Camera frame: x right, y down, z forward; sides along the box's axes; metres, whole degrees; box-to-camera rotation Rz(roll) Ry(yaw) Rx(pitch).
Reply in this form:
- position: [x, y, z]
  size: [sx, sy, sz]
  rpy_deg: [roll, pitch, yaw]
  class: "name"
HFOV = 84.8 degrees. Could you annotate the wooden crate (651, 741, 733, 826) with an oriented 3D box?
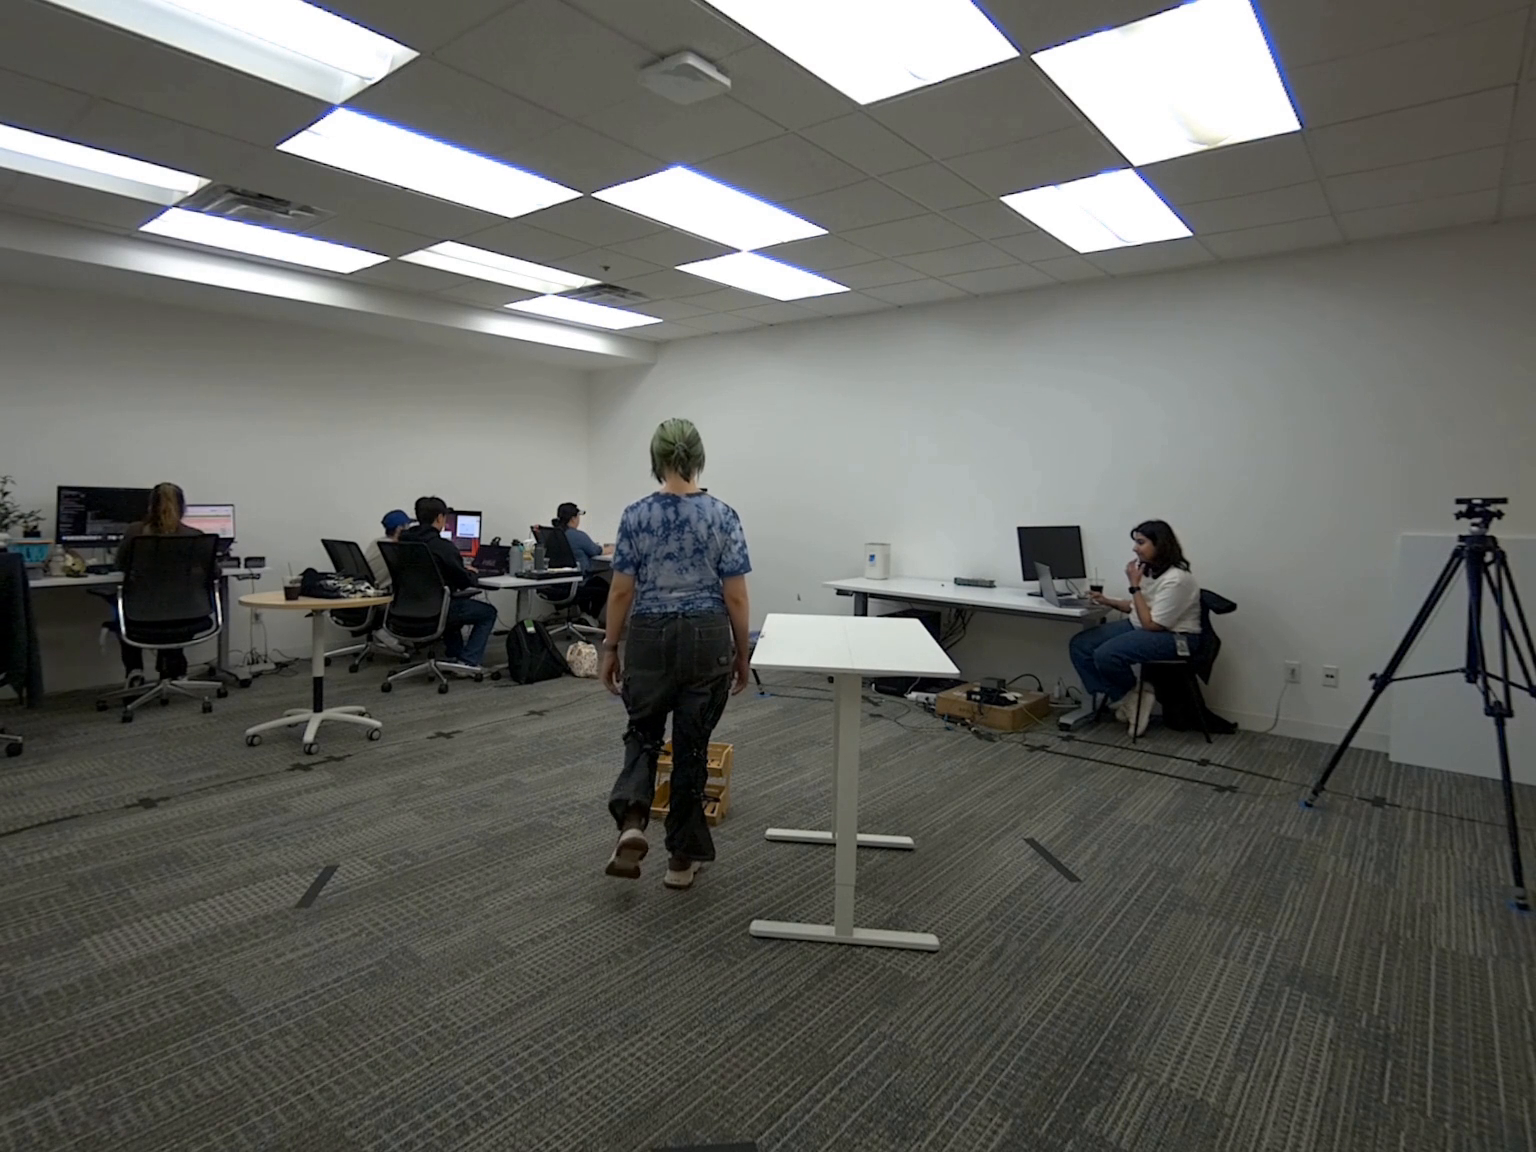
- position: [-0.339, 0.878, 3.674]
  size: [0.329, 0.272, 0.299]
  rpy_deg: [1, 4, 12]
  class: "wooden crate"
